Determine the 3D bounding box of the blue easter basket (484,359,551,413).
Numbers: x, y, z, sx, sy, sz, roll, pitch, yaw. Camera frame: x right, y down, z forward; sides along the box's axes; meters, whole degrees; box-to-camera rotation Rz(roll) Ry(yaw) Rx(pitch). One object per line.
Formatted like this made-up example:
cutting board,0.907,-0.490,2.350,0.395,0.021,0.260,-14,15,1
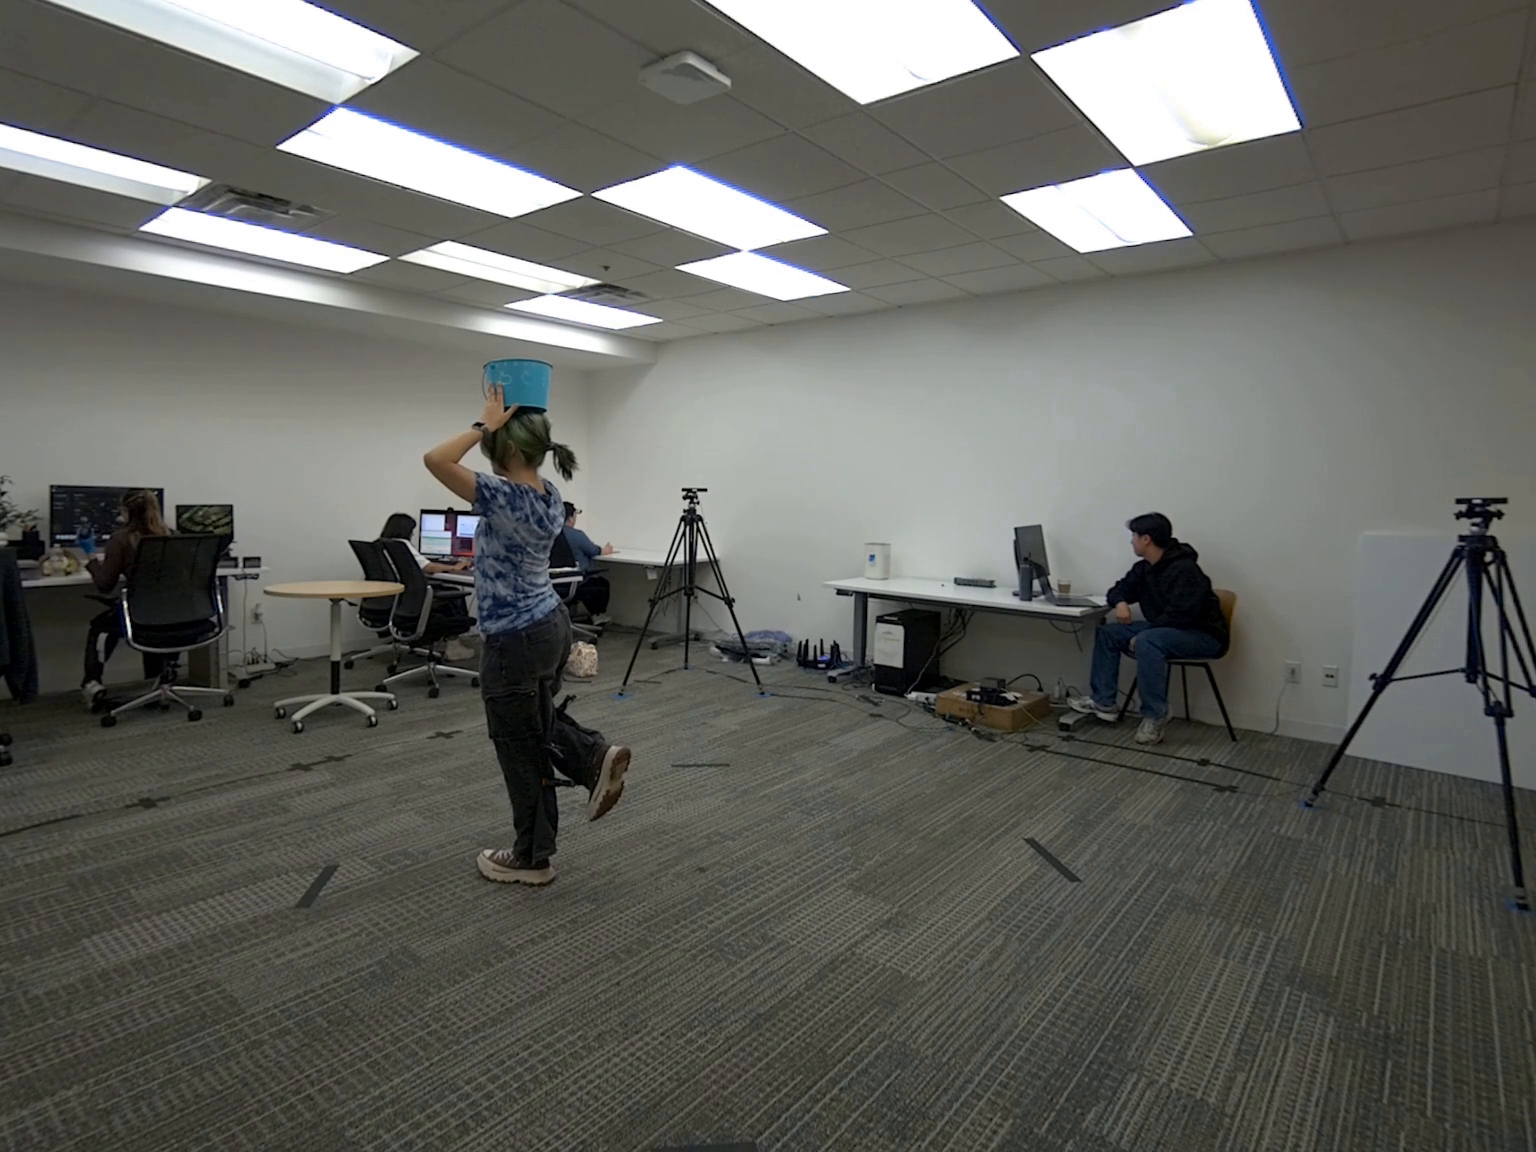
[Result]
blue easter basket,-0.862,-0.636,2.885,0.243,0.156,0.243,-4,-1,-2
